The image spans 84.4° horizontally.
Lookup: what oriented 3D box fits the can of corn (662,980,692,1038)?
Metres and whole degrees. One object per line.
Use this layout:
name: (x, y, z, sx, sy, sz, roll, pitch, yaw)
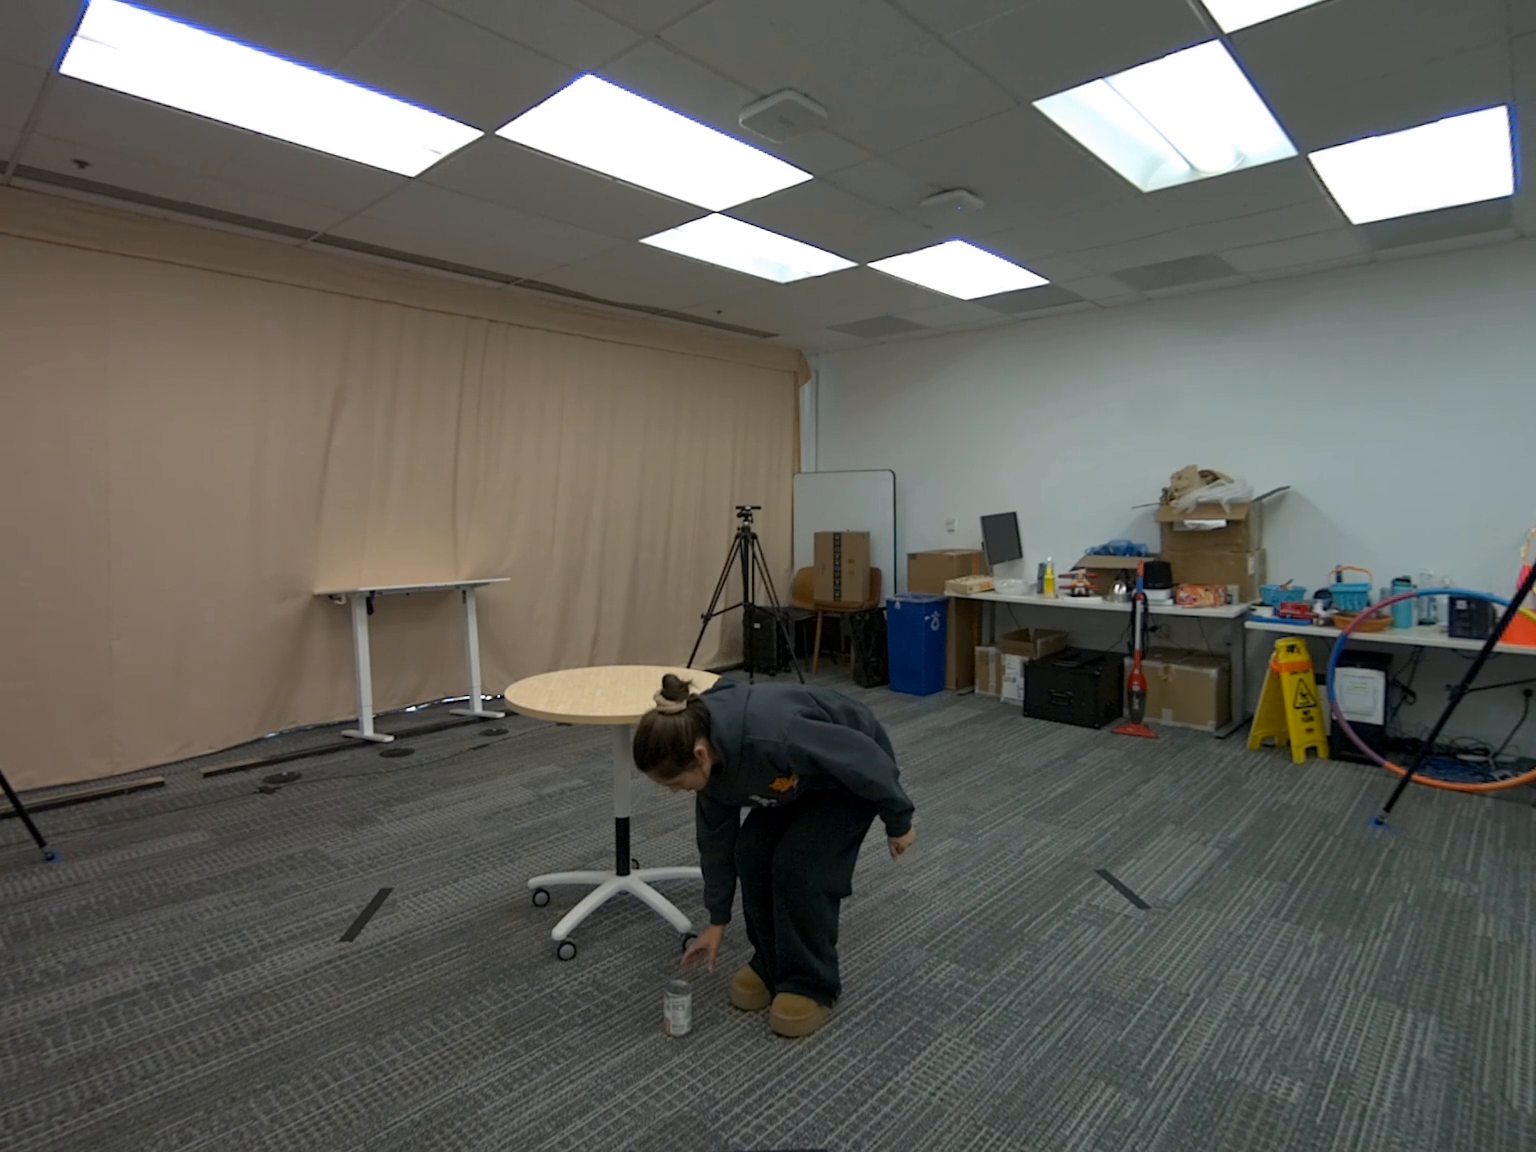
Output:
can of corn: (-0.227, 1.154, 2.249, 0.074, 0.111, 0.074, 1, 4, -2)
